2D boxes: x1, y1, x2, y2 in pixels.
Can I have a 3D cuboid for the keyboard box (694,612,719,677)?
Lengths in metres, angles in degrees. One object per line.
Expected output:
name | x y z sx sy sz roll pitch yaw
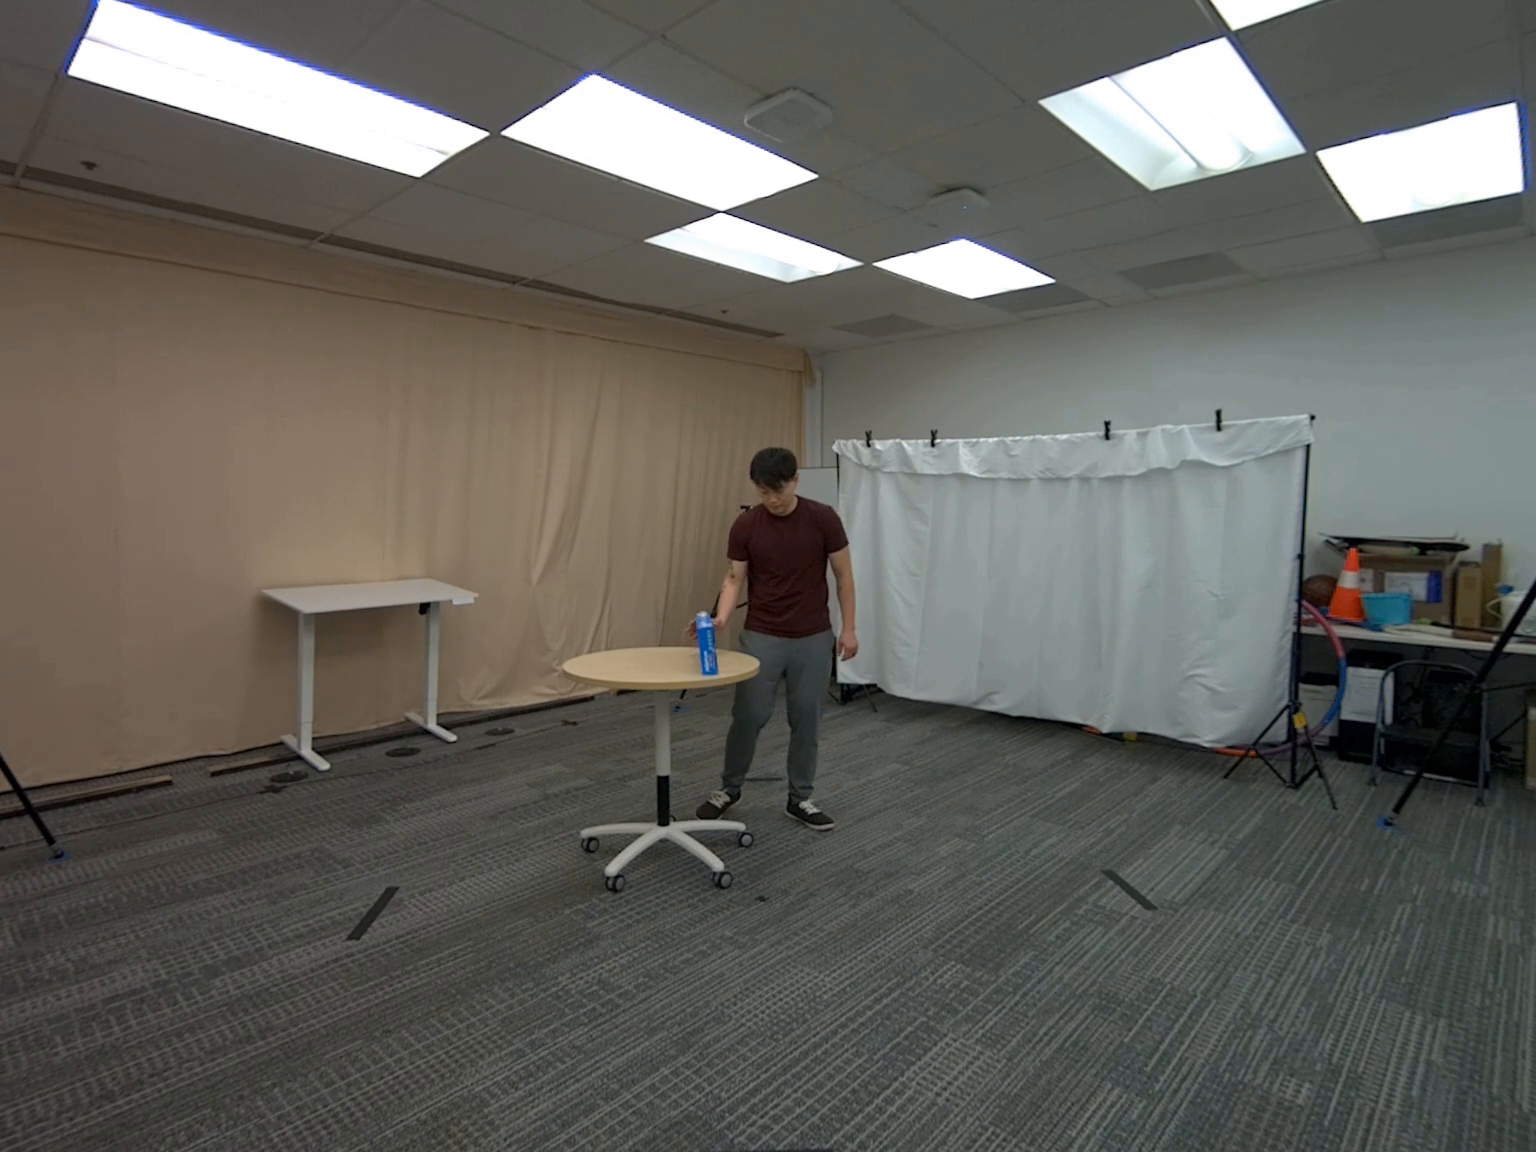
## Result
keyboard box | -0.237 0.252 3.248 0.059 0.175 0.440 -7 4 -6
